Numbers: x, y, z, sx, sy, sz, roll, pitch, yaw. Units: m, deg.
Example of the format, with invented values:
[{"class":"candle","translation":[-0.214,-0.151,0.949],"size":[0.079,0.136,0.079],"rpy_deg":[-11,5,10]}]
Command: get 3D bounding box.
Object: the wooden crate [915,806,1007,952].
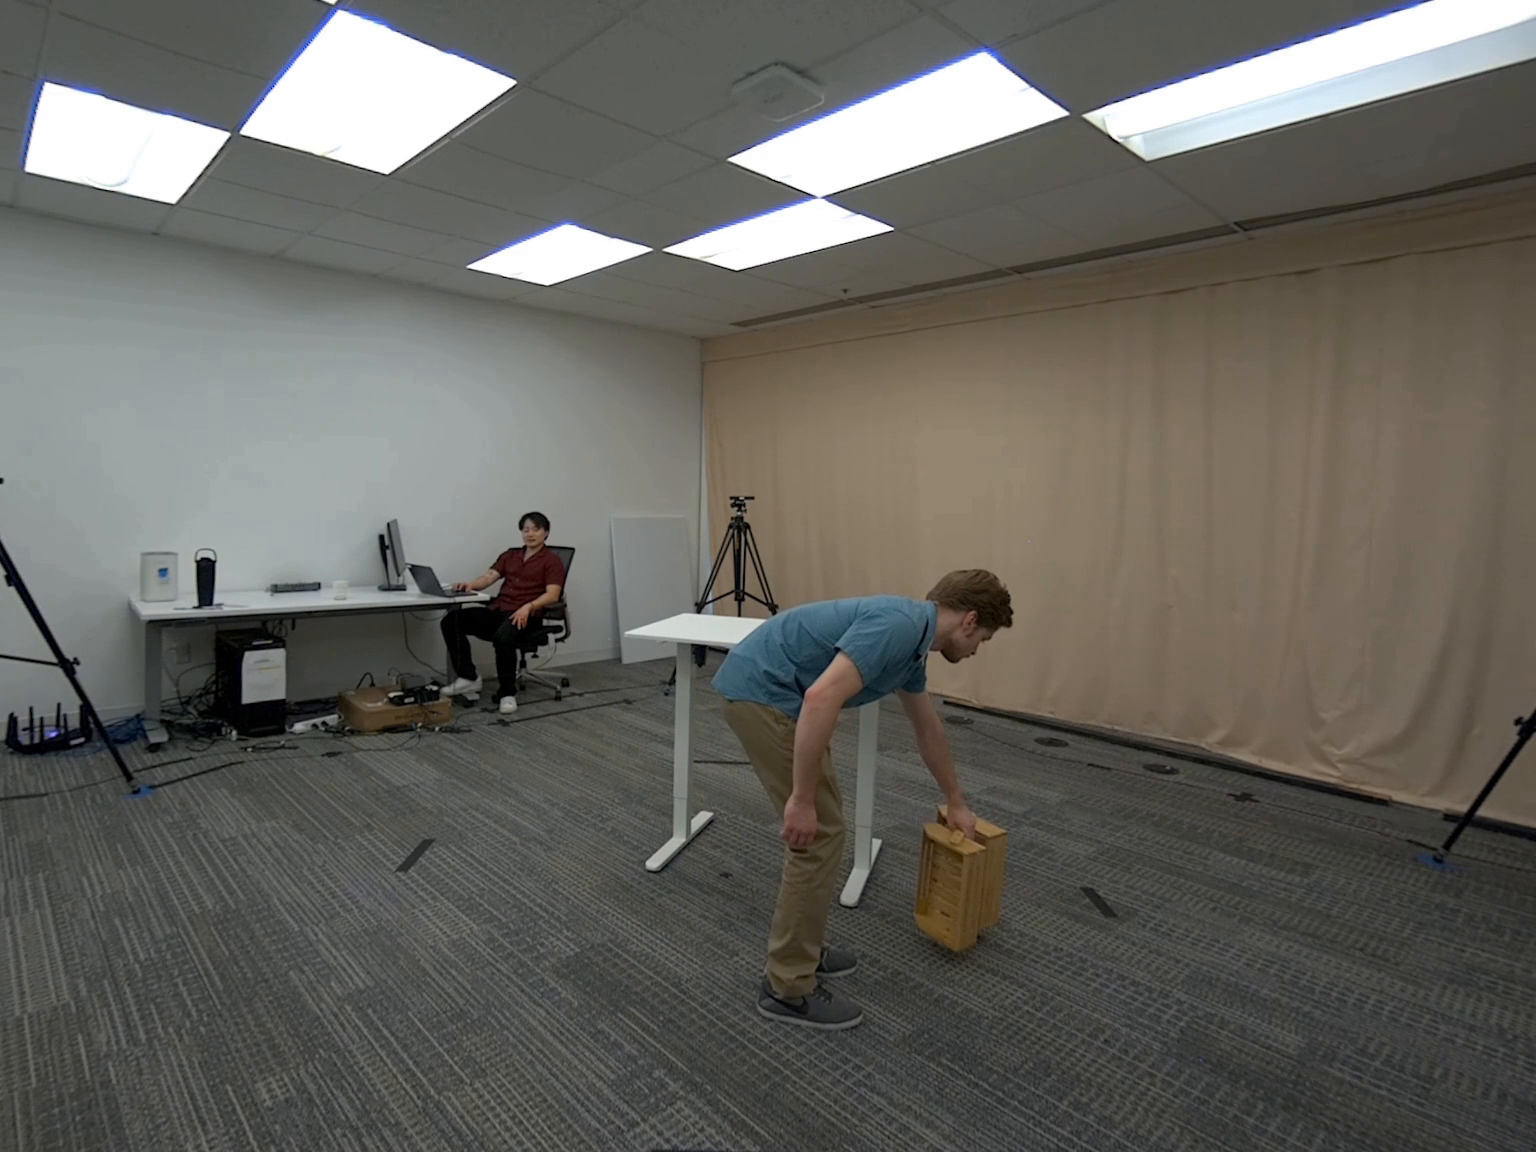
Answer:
[{"class":"wooden crate","translation":[0.573,0.942,2.663],"size":[0.267,0.323,0.310],"rpy_deg":[1,6,-38]}]
